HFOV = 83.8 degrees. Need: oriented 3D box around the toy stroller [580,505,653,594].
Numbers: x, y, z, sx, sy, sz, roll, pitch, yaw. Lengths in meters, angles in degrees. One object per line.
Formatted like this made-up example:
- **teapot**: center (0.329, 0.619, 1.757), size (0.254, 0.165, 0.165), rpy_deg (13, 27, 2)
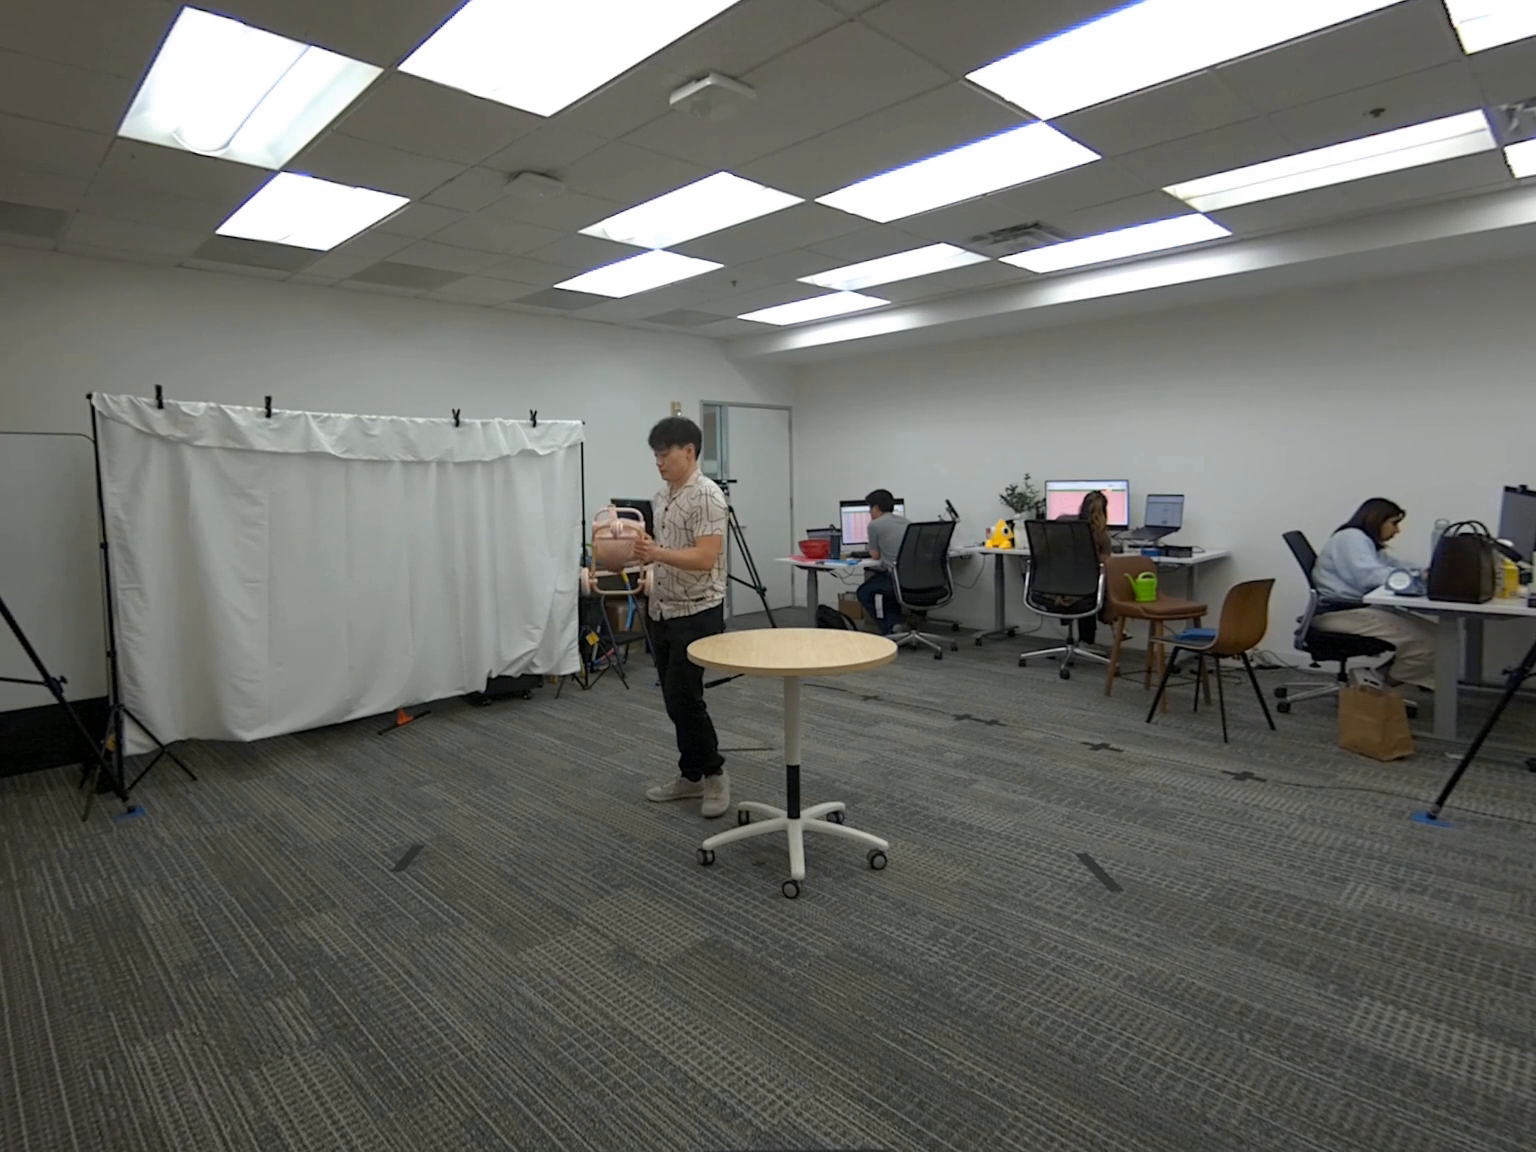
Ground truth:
- **toy stroller**: center (-0.605, -0.128, 3.473), size (0.280, 0.336, 0.546), rpy_deg (-3, 19, -5)
